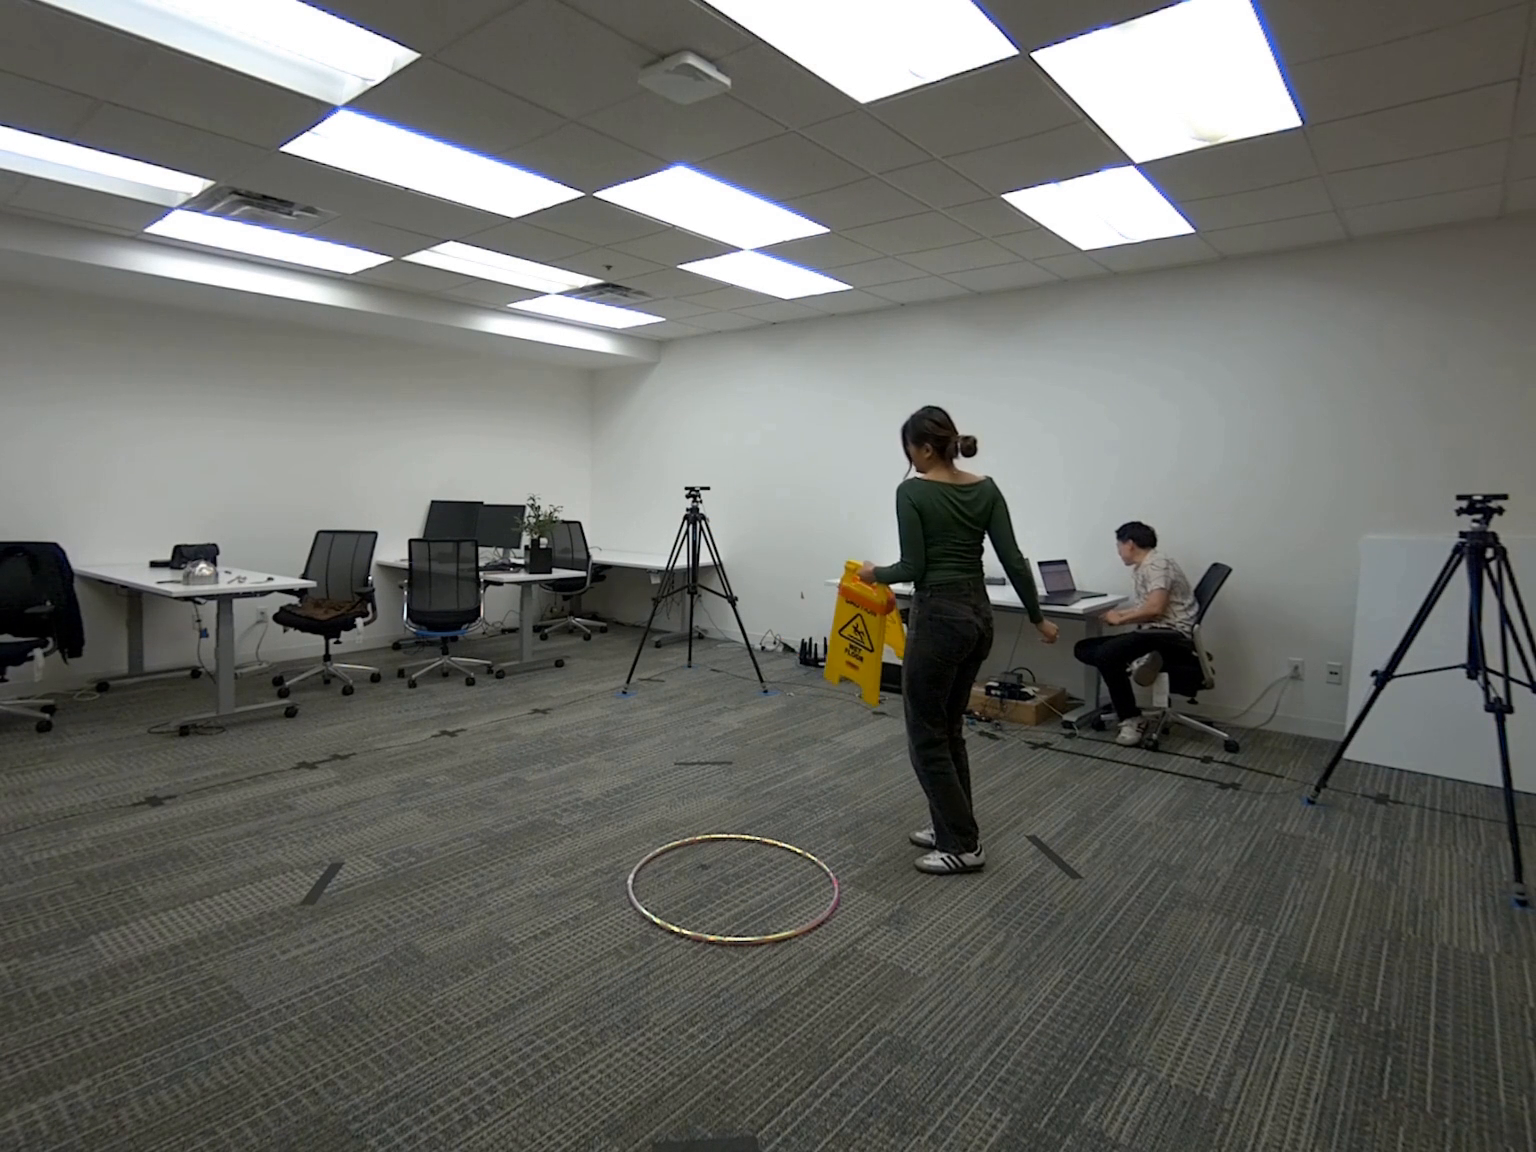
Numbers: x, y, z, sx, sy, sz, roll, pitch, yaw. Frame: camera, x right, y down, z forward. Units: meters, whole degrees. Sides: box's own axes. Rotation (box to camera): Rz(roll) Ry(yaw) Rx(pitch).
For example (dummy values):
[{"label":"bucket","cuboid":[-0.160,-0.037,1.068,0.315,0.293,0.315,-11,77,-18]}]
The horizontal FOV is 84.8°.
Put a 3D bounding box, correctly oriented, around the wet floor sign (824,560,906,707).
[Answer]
[{"label":"wet floor sign","cuboid":[0.383,0.193,3.564,0.293,0.625,0.288,27,51,31]}]
